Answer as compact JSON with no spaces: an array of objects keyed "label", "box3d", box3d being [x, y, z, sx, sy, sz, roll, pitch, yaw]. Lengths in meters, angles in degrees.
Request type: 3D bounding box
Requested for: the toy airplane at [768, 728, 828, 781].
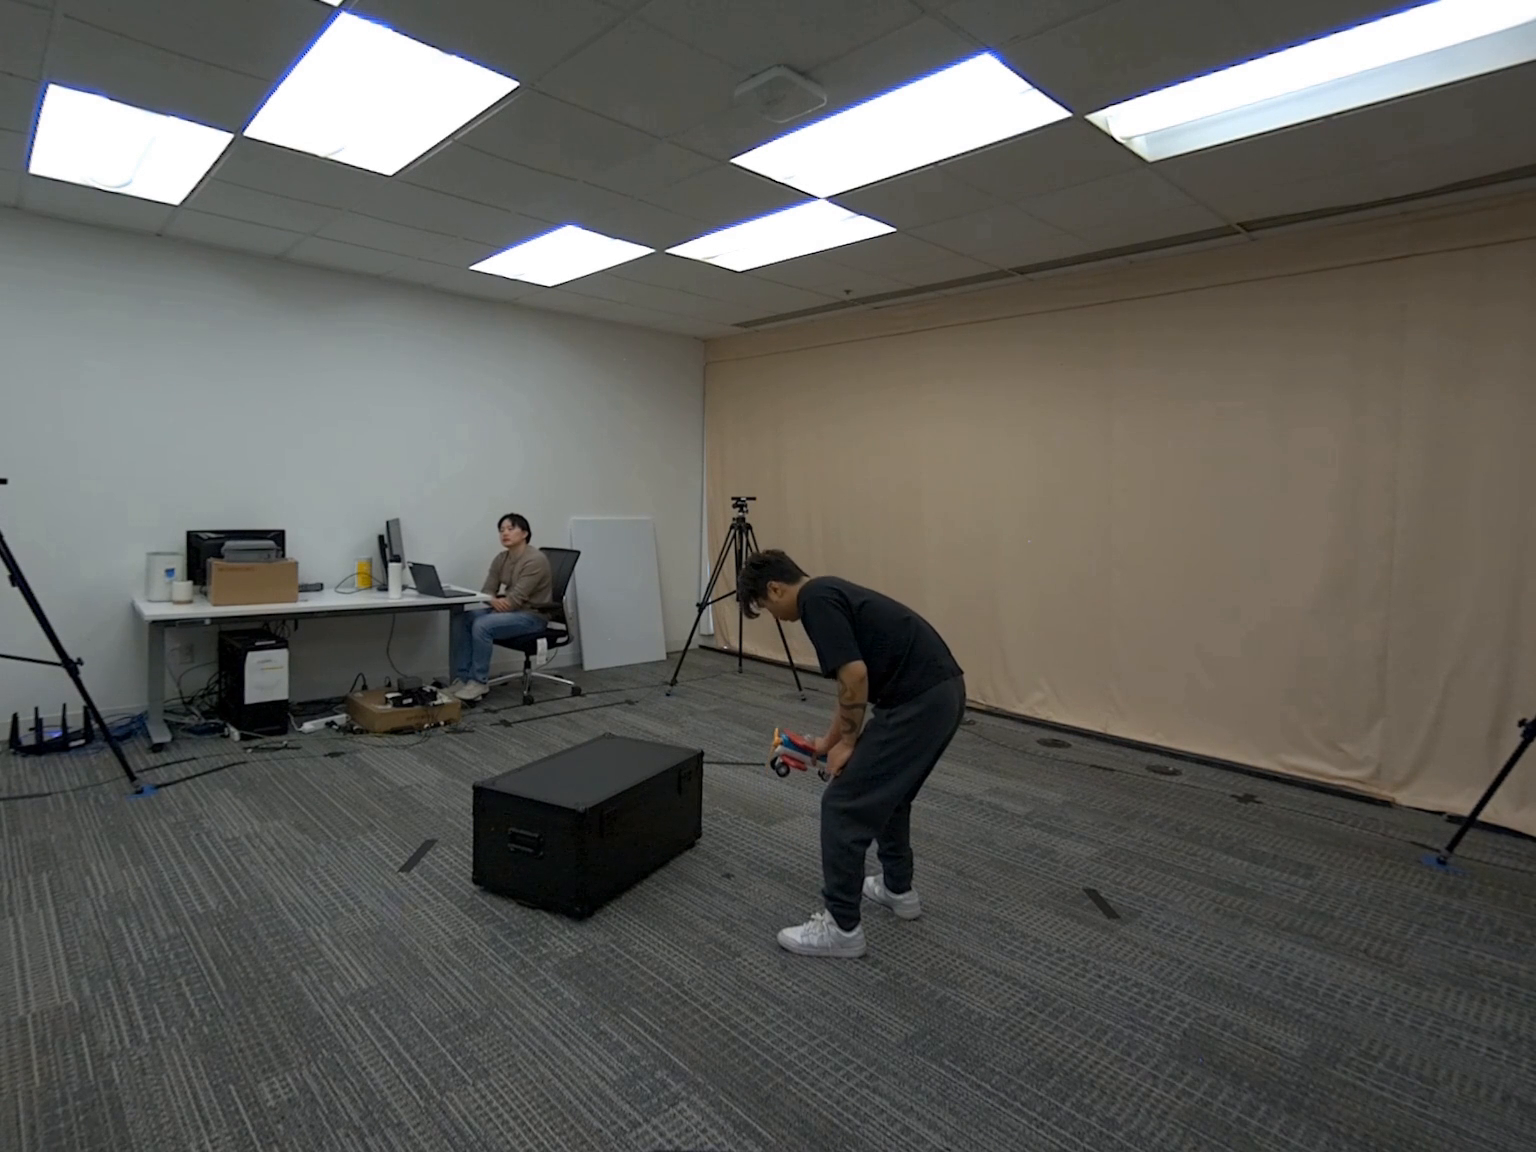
[{"label":"toy airplane","box3d":[0.121,0.673,3.177,0.252,0.156,0.258,10,2,-39]}]
